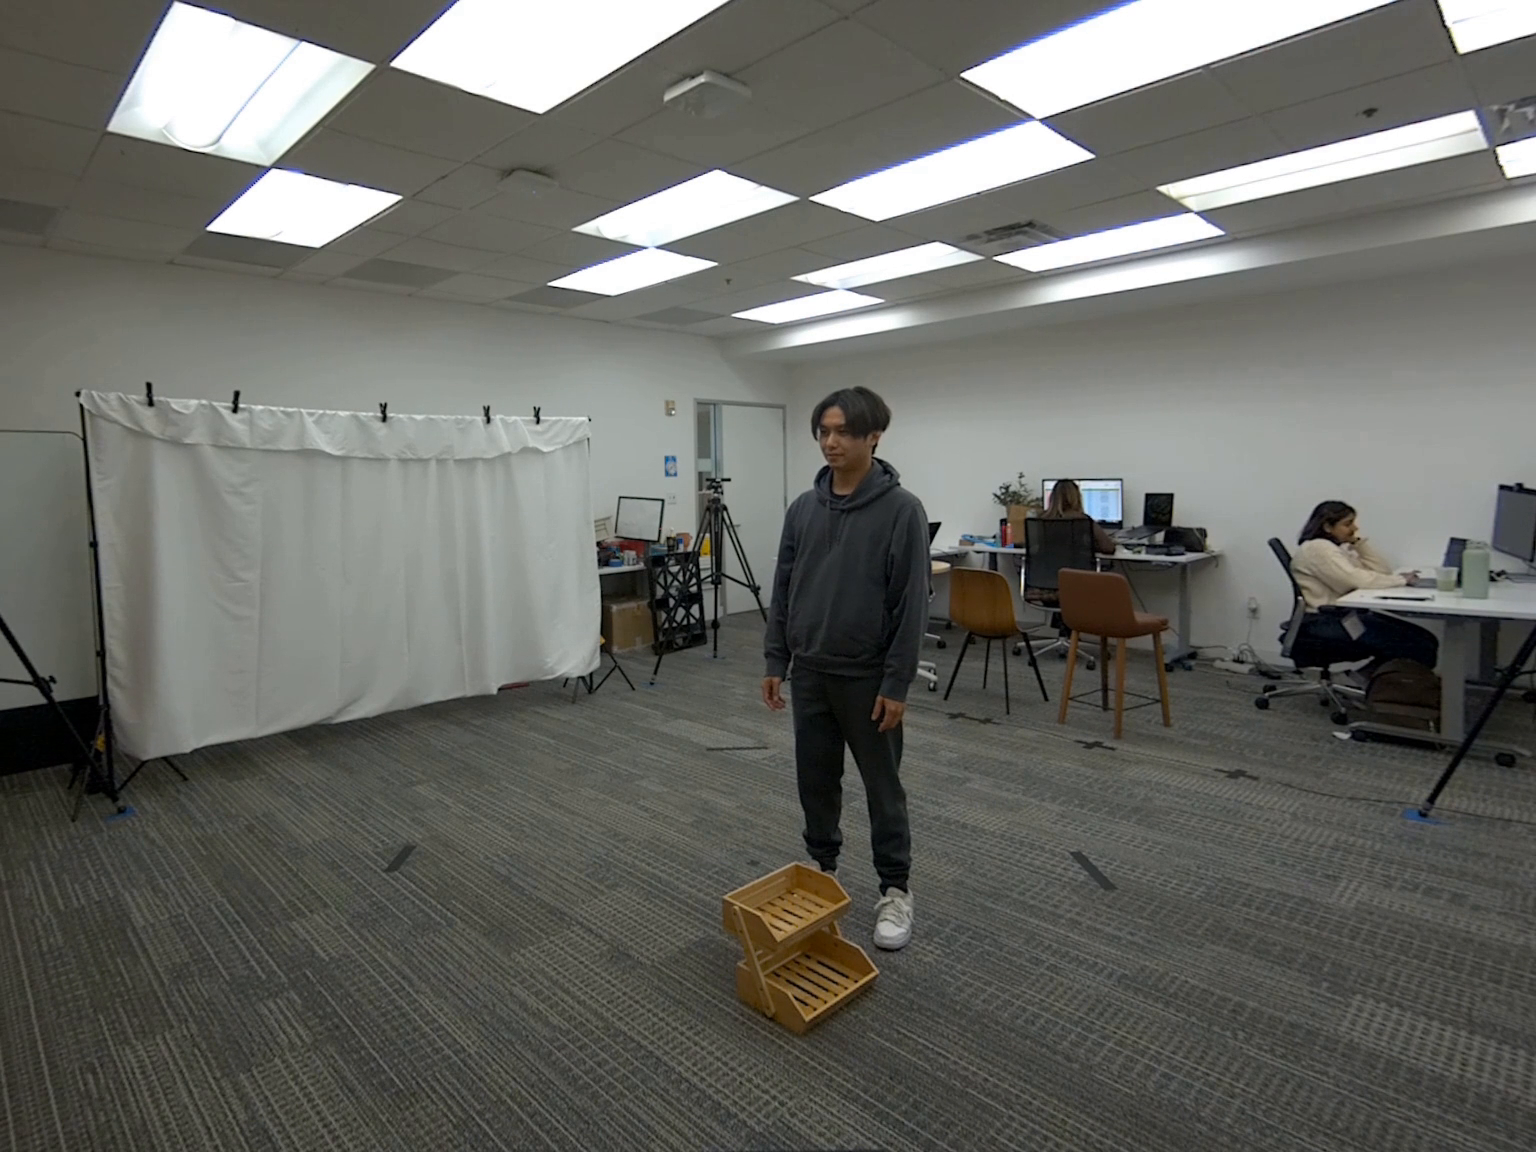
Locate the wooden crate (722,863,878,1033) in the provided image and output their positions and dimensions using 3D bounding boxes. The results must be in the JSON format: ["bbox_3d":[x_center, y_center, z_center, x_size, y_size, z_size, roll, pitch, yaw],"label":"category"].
[{"bbox_3d":[0.082,0.998,2.334,0.316,0.272,0.311,-7,7,-44],"label":"wooden crate"}]
